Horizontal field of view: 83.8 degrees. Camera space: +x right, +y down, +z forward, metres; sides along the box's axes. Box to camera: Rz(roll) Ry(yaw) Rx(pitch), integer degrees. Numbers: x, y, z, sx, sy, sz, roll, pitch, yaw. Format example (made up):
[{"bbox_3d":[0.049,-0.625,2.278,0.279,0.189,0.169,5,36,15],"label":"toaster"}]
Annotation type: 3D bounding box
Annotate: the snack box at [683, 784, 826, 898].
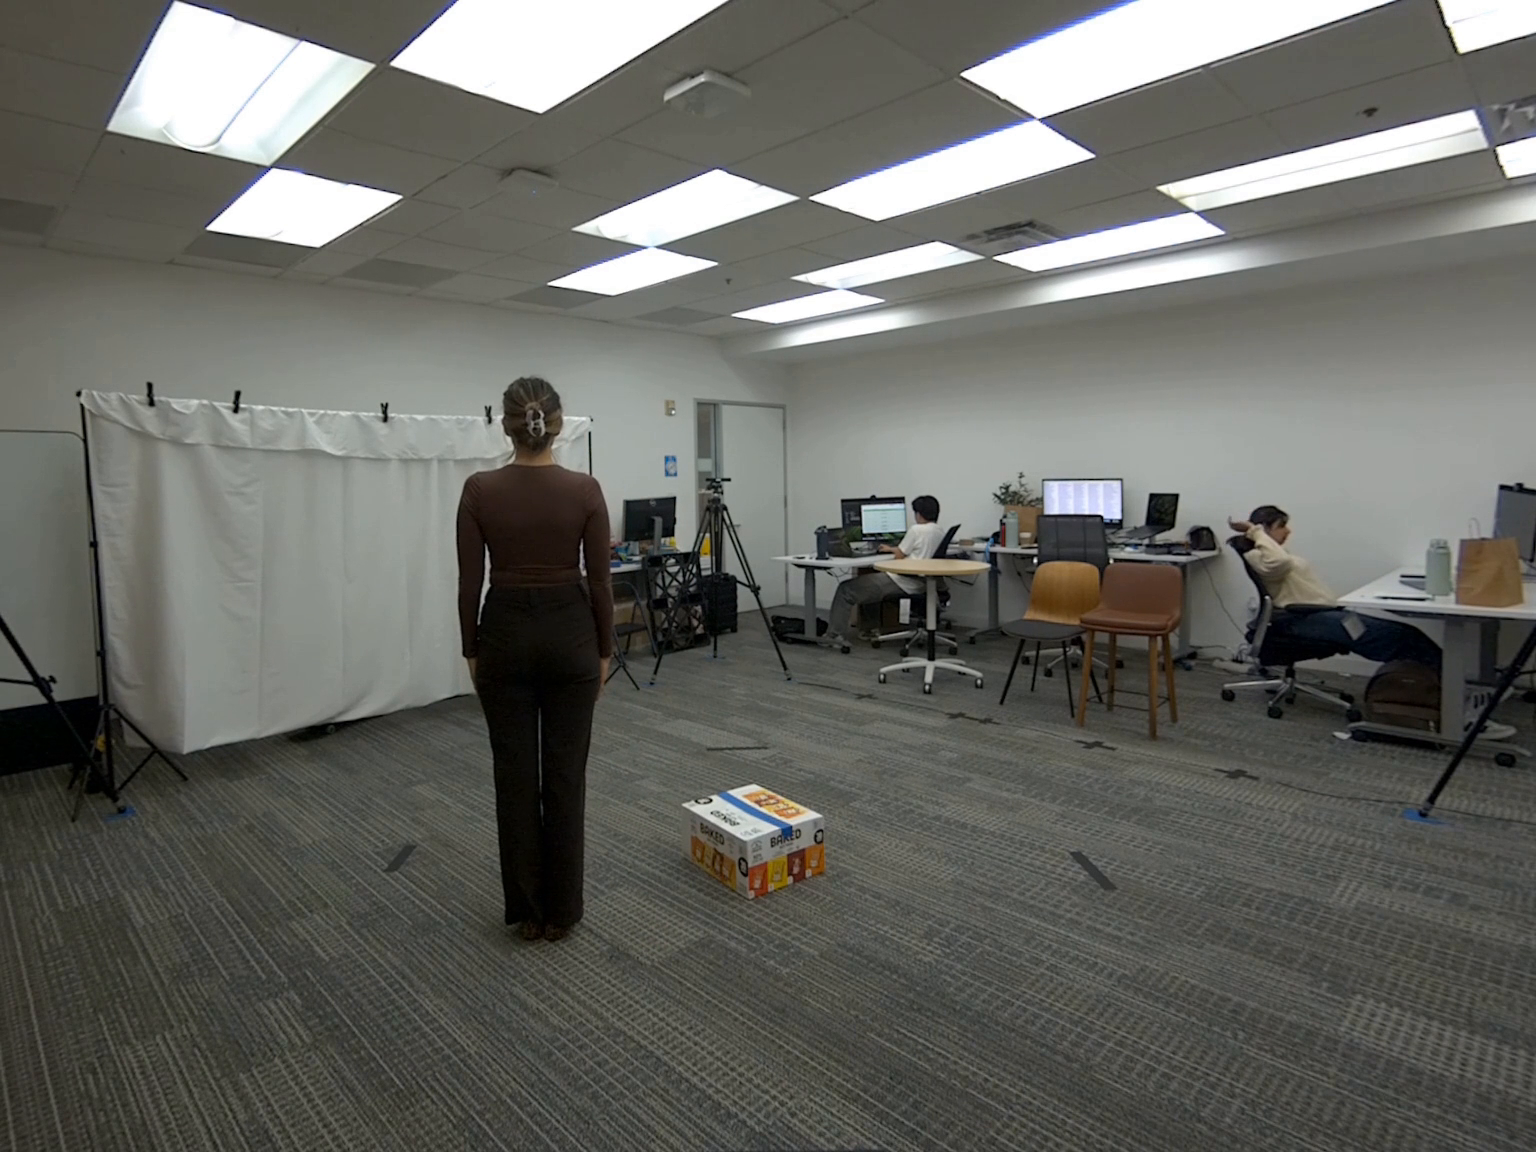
[{"bbox_3d":[-0.058,0.944,3.082,0.332,0.205,0.417,-5,7,-37],"label":"snack box"}]
